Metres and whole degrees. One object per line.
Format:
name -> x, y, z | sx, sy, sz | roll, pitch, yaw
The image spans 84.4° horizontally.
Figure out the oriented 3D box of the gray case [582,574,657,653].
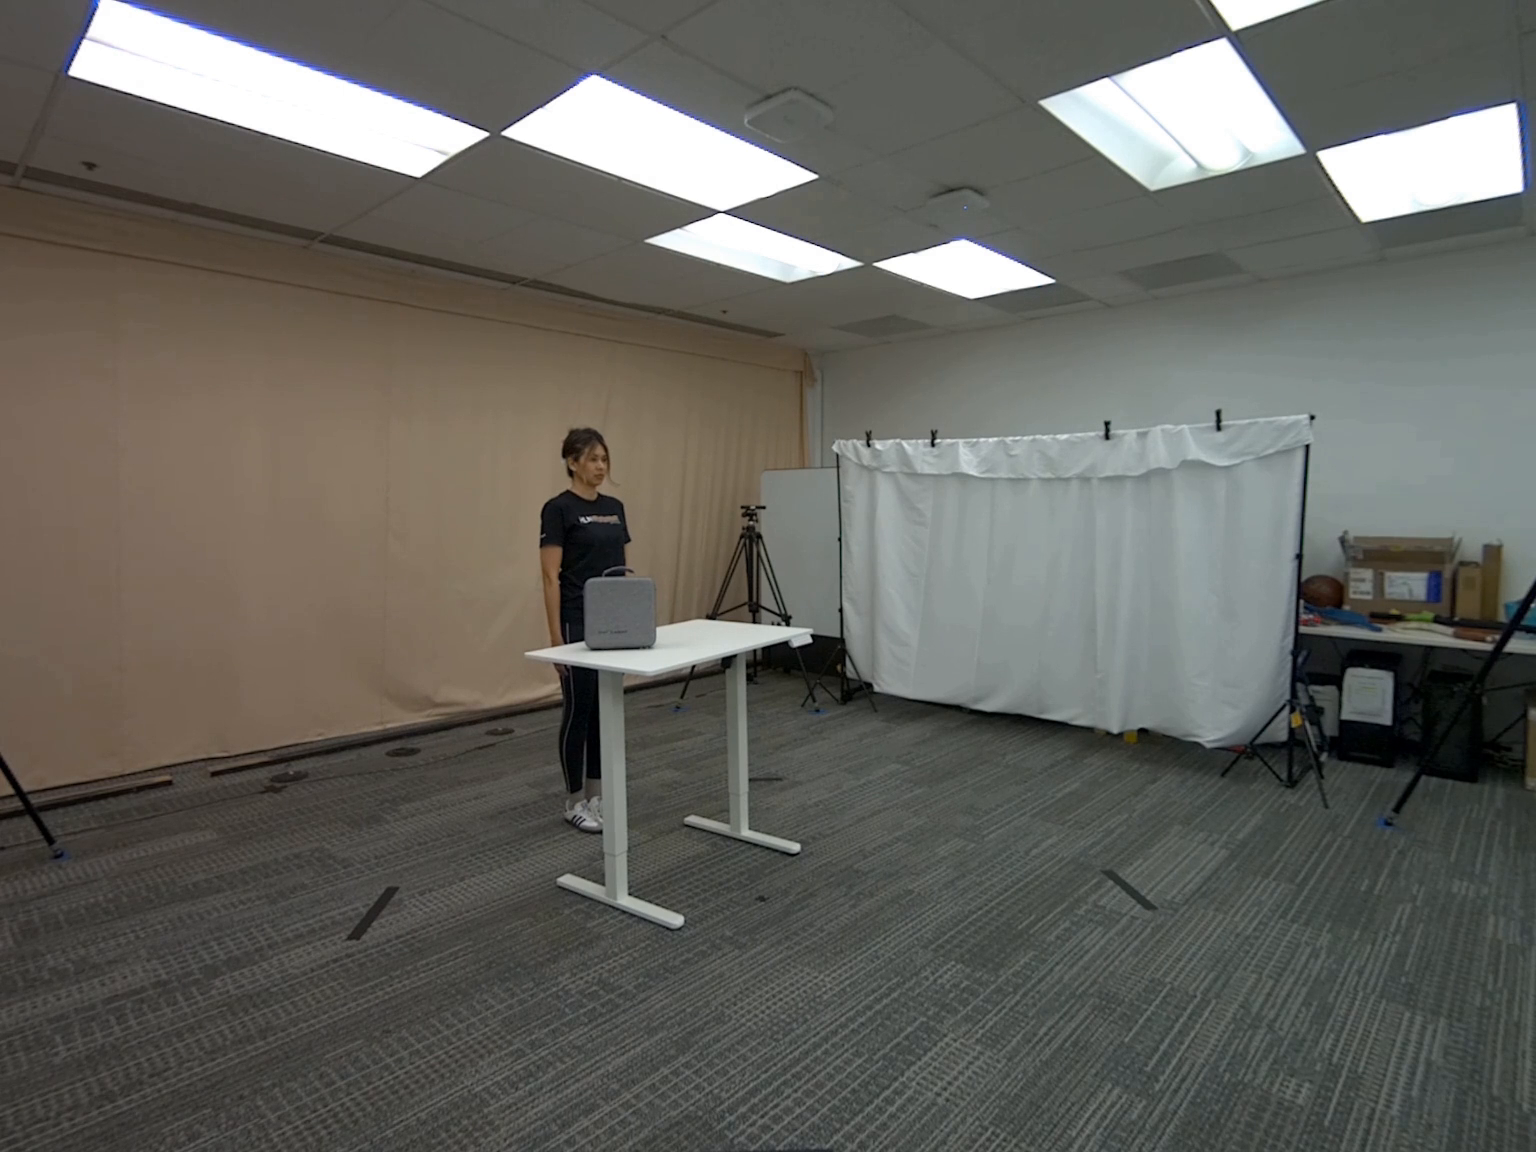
gray case -> -0.540, 0.135, 3.039 | 0.255, 0.262, 0.104 | -2, -8, -8
